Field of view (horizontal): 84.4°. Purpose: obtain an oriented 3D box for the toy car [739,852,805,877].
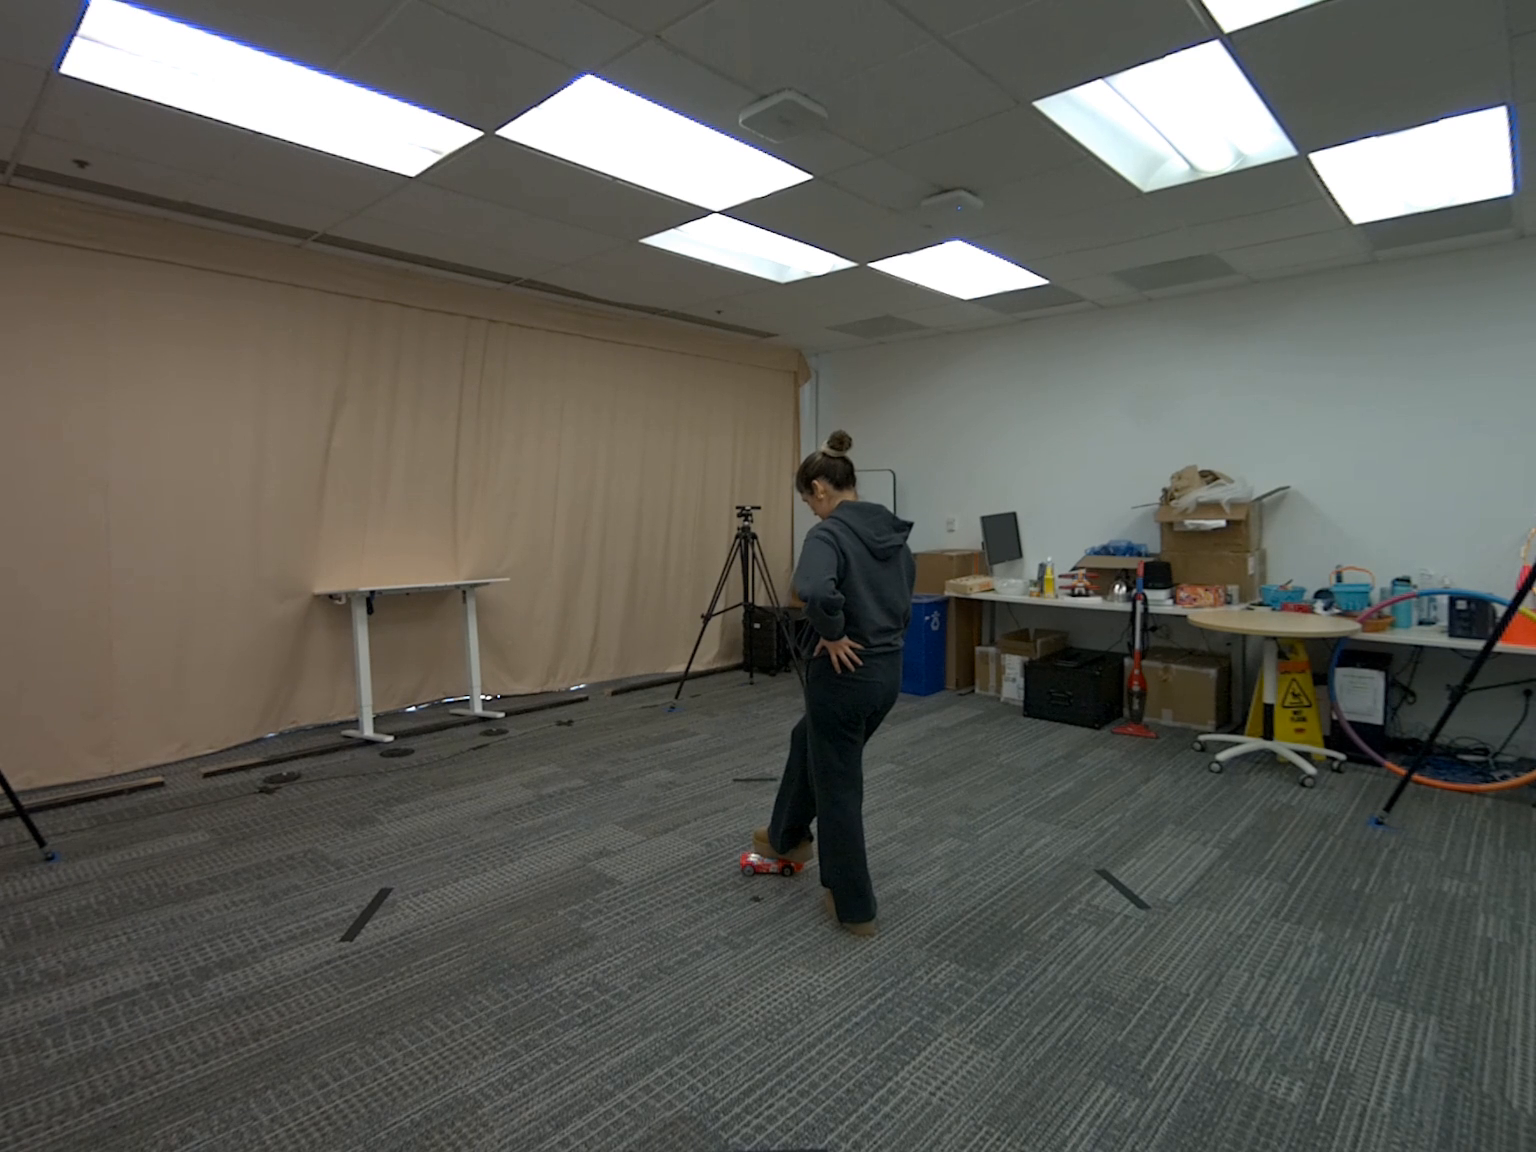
[{"bbox_3d":[0.051,1.092,3.210,0.256,0.083,0.130,-11,5,6],"label":"toy car"}]
